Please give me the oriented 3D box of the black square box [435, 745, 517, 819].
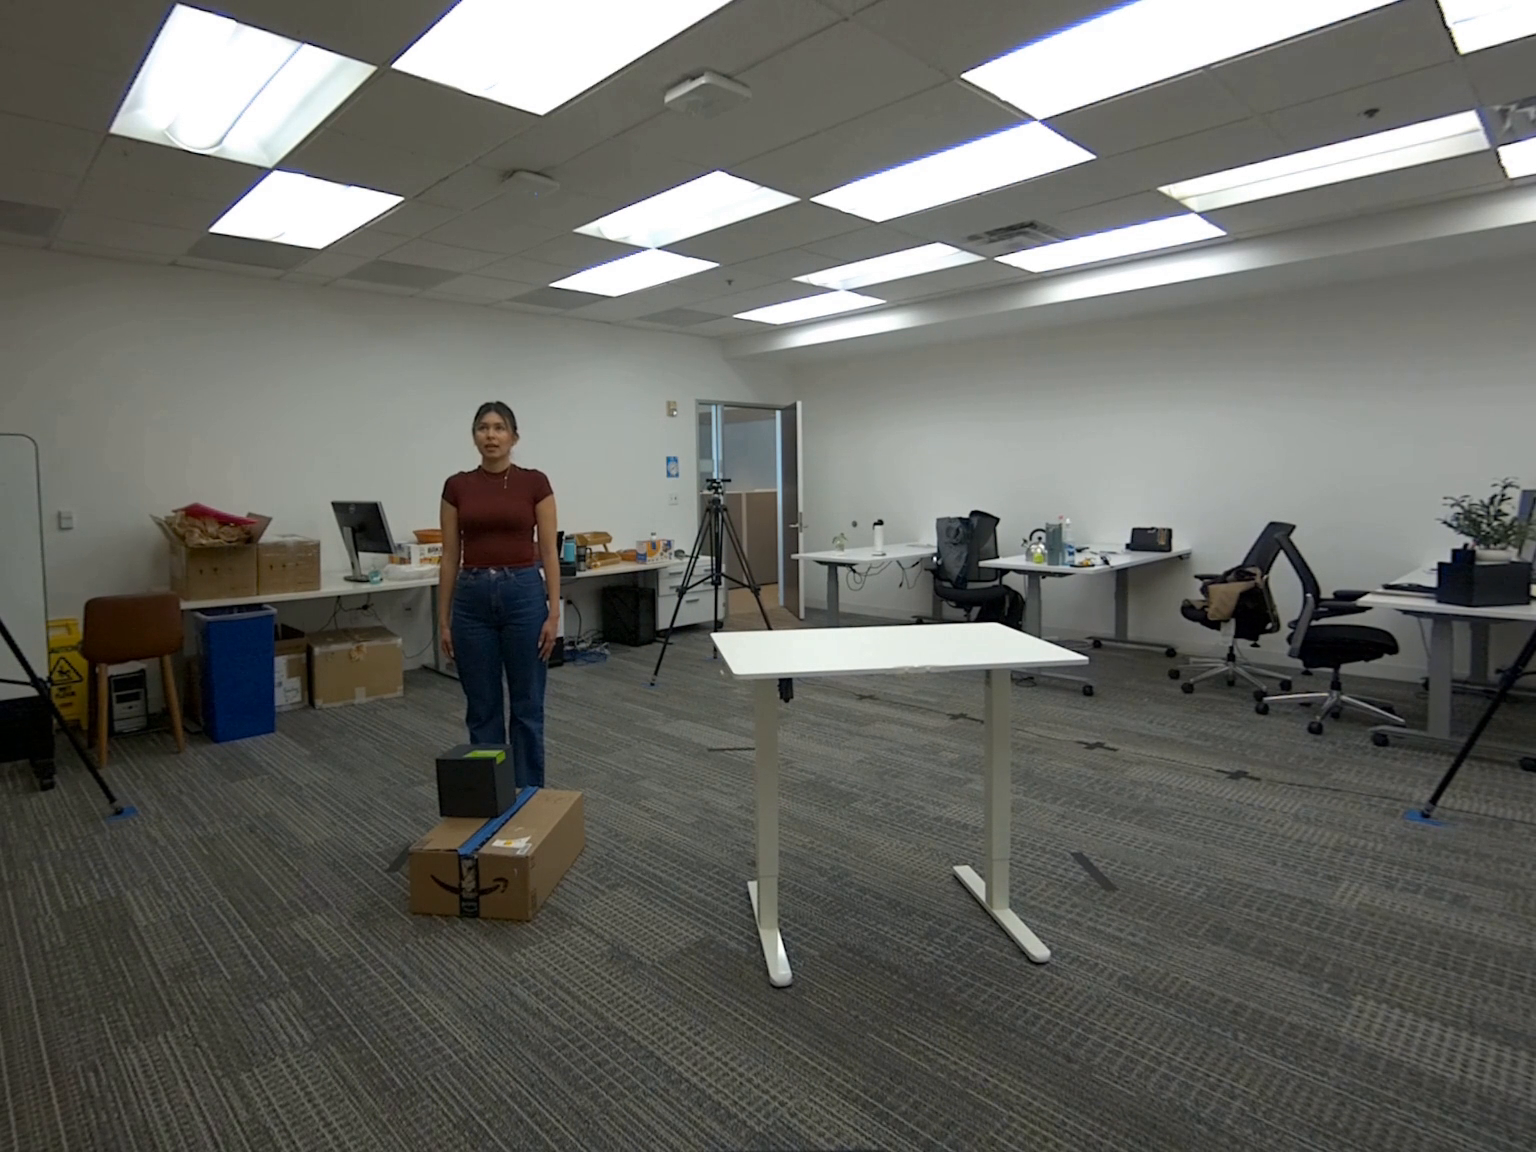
[{"bbox_3d":[-1.058,0.740,3.098,0.230,0.216,0.155,-4,5,11],"label":"black square box"}]
